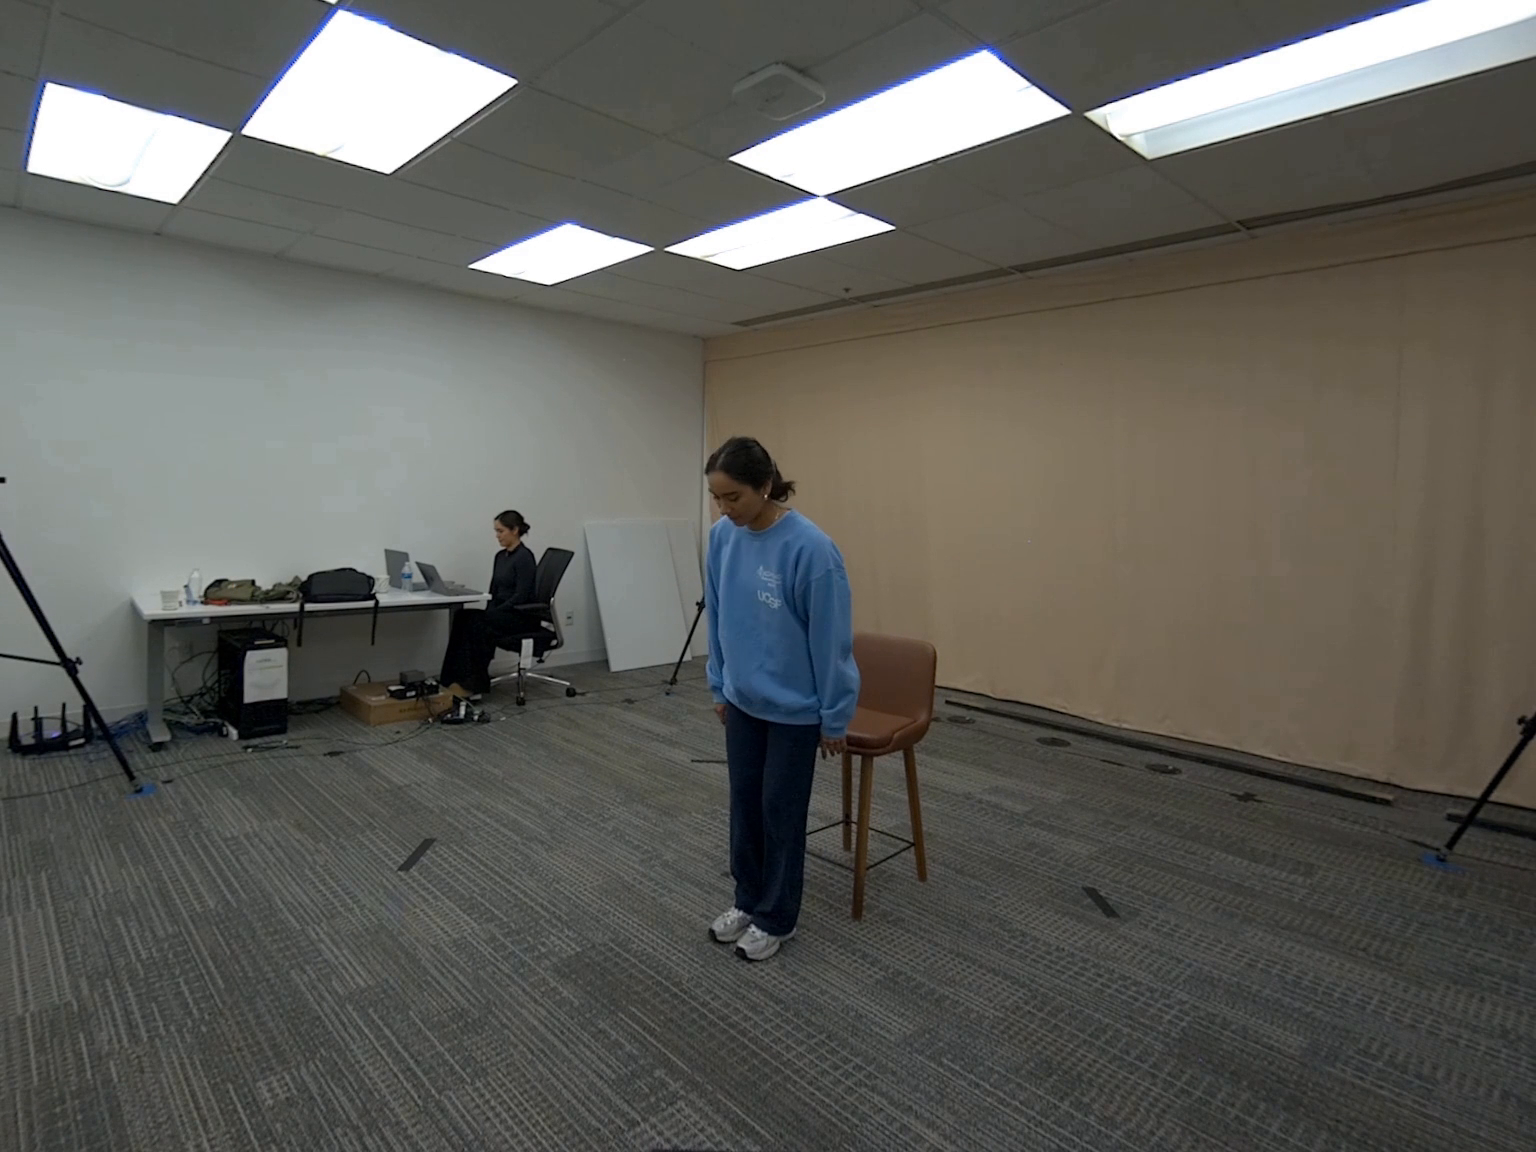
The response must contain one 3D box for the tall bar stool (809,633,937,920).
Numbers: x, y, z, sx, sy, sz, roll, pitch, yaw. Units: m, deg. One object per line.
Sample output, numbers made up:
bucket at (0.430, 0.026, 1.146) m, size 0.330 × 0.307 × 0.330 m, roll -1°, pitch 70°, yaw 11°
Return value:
tall bar stool at (0.315, 0.679, 3.053) m, size 0.468 × 0.889 × 0.456 m, roll 4°, pitch 3°, yaw 44°
